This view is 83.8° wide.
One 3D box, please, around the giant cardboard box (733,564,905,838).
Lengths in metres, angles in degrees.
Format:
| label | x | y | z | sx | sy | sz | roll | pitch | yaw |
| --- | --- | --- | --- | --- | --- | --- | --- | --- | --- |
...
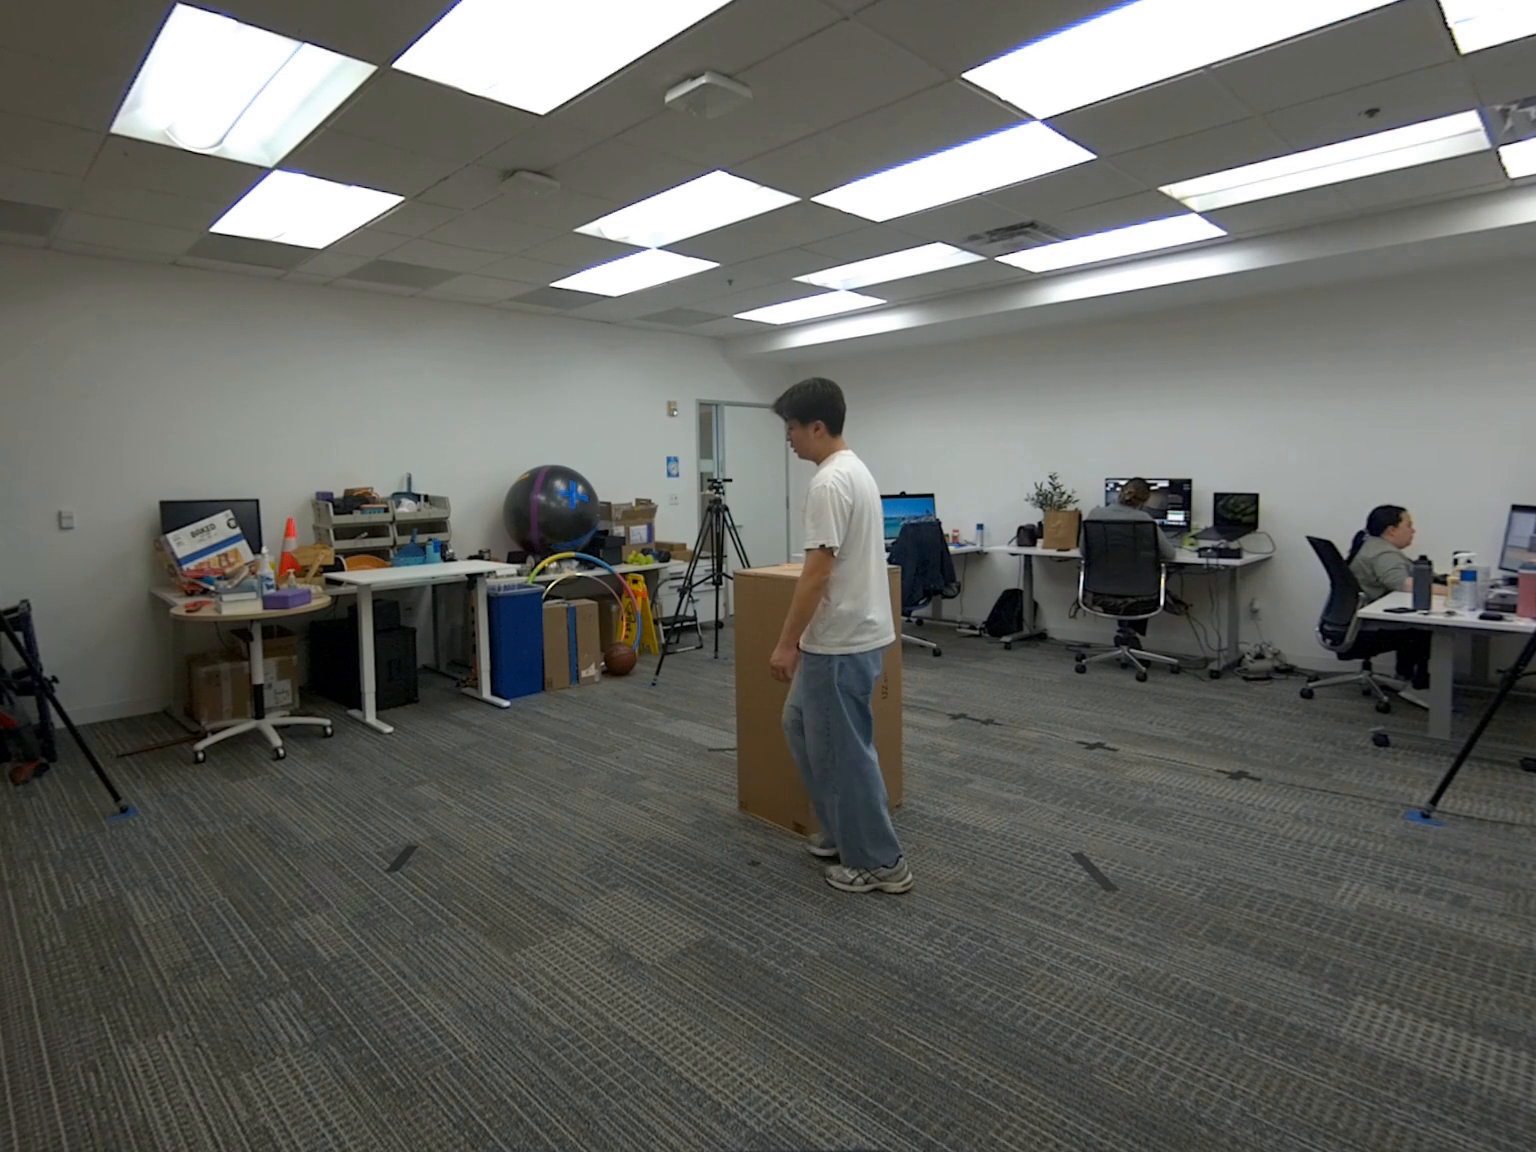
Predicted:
| label | x | y | z | sx | sy | sz | roll | pitch | yaw |
| --- | --- | --- | --- | --- | --- | --- | --- | --- | --- |
| giant cardboard box | 0.212 | 0.475 | 3.599 | 0.562 | 1.022 | 0.439 | -5 | 5 | -41 |
